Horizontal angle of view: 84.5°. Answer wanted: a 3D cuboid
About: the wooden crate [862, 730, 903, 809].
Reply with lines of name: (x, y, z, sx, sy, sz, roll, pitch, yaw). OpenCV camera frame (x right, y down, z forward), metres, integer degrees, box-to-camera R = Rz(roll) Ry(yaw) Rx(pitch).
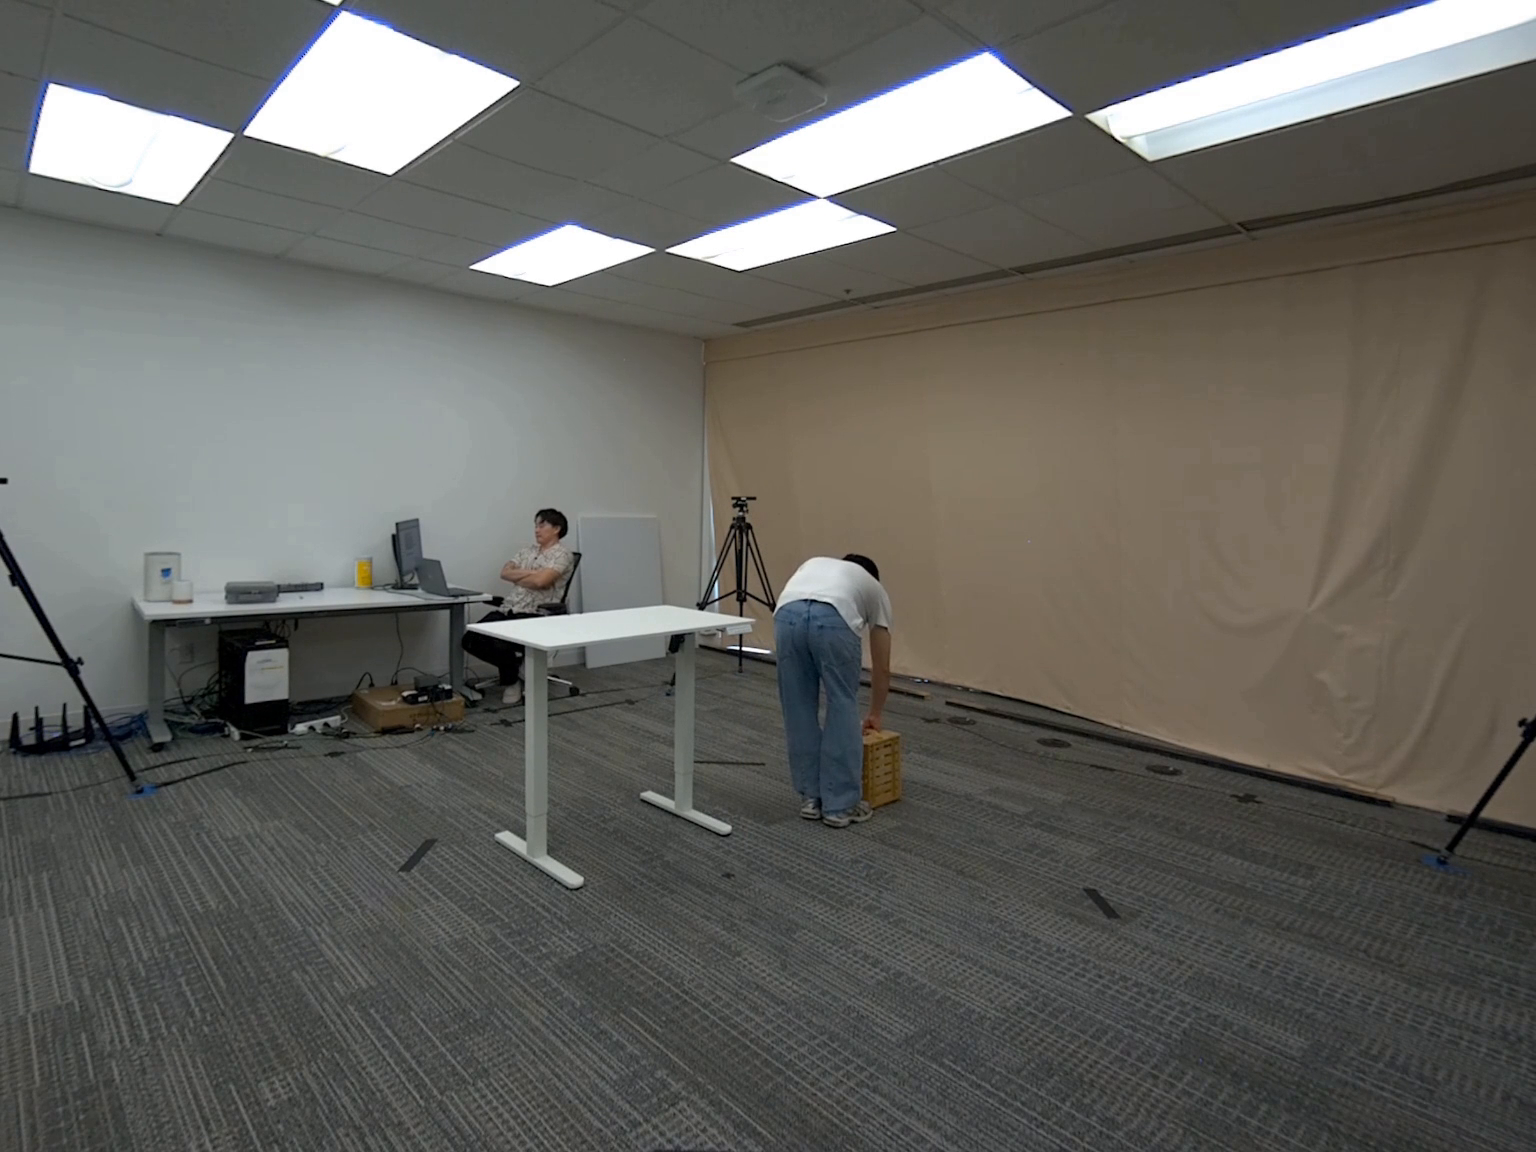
wooden crate: (0.449, 0.871, 3.982, 0.295, 0.323, 0.280, -3, 6, -40)
